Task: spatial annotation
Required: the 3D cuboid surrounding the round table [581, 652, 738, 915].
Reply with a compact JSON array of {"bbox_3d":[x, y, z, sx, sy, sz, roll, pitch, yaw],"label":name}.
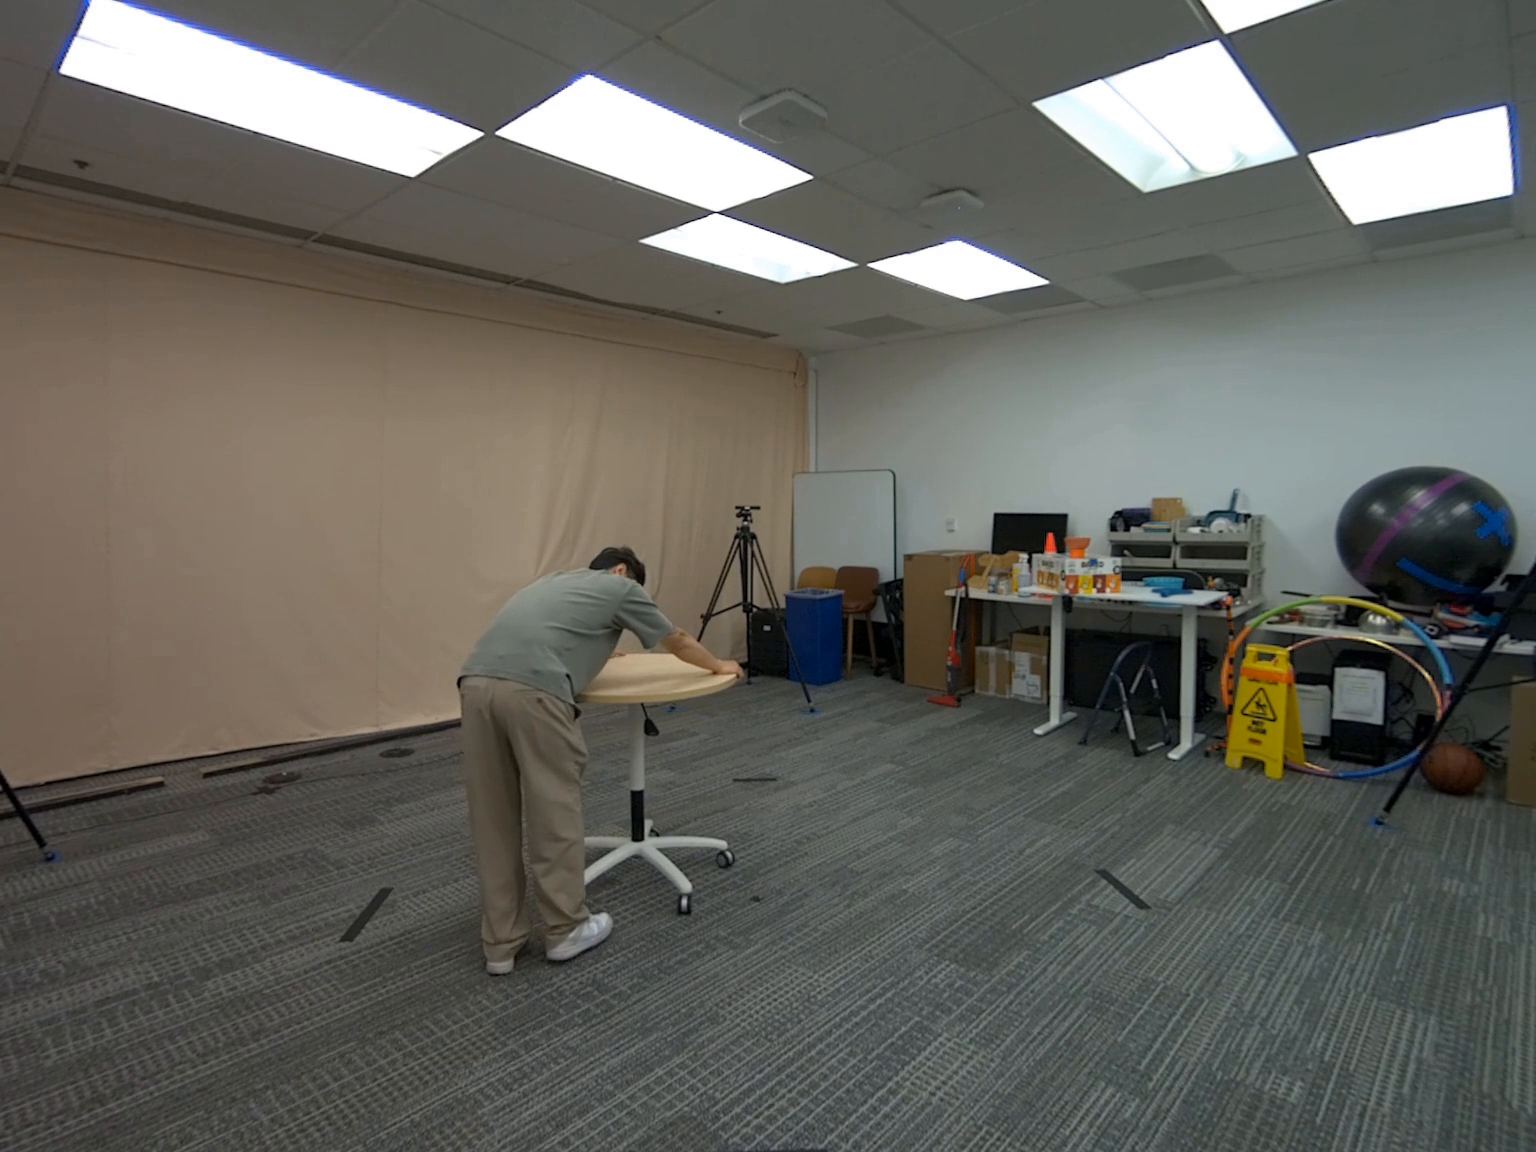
[{"bbox_3d":[-0.491,0.743,3.167,0.784,0.785,0.788,-1,4,-2],"label":"round table"}]
